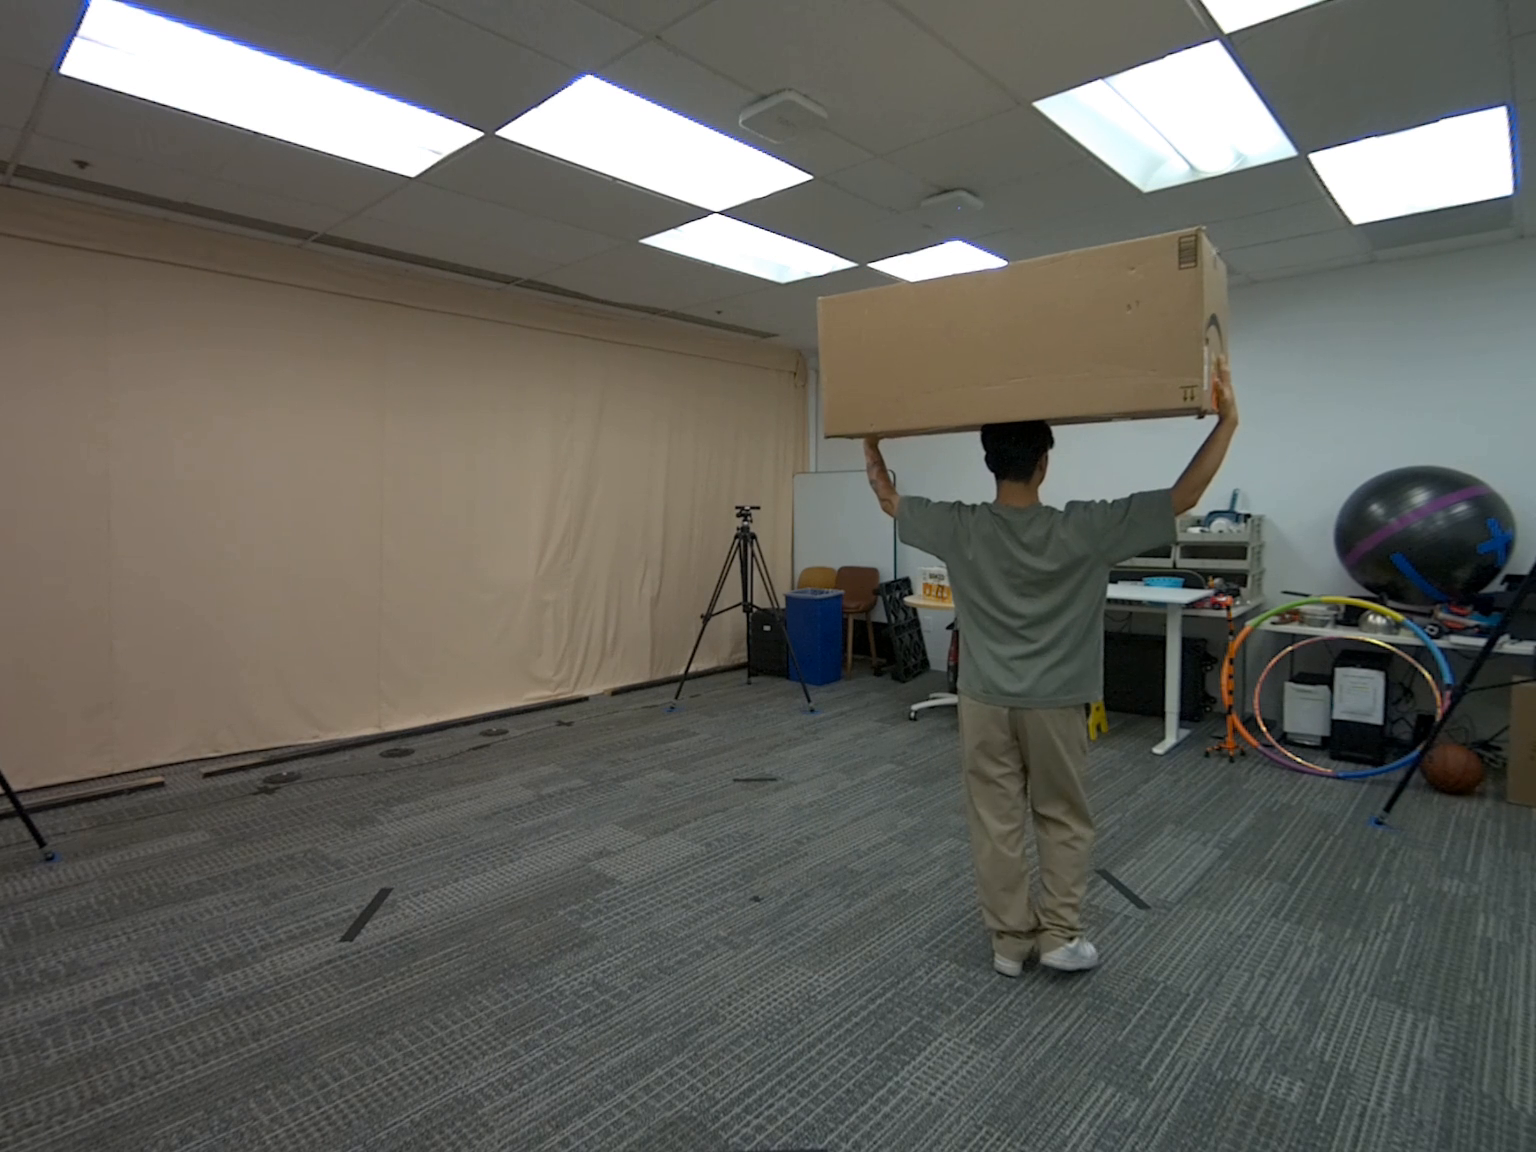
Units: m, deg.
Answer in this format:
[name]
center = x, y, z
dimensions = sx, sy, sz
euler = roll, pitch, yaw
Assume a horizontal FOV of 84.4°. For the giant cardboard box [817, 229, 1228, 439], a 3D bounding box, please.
[giant cardboard box]
center = 0.745, -0.652, 2.499
dimensions = 1.057, 0.424, 0.562
euler = 2, 8, 34
